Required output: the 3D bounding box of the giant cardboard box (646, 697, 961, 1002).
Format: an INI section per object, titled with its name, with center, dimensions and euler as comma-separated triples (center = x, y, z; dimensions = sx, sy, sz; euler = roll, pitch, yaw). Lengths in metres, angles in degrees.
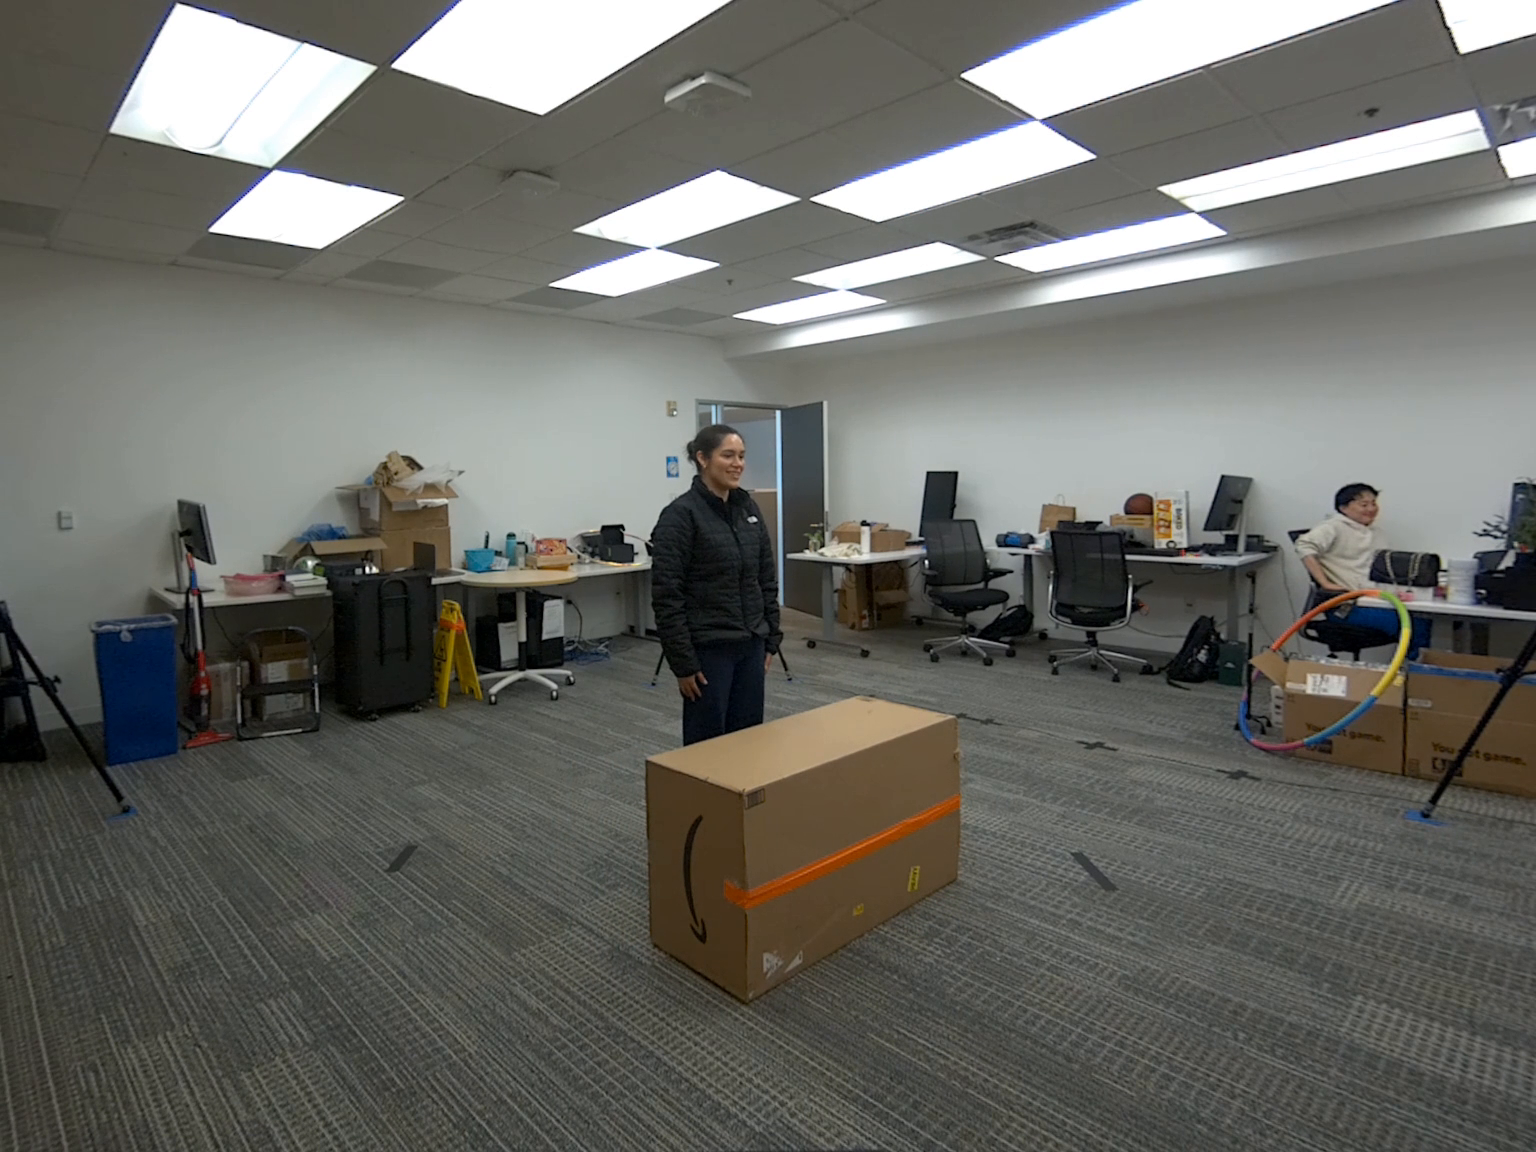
[giant cardboard box]
center = 0.150, 0.795, 2.756
dimensions = 1.000, 0.582, 0.460
euler = -7, 6, -43
